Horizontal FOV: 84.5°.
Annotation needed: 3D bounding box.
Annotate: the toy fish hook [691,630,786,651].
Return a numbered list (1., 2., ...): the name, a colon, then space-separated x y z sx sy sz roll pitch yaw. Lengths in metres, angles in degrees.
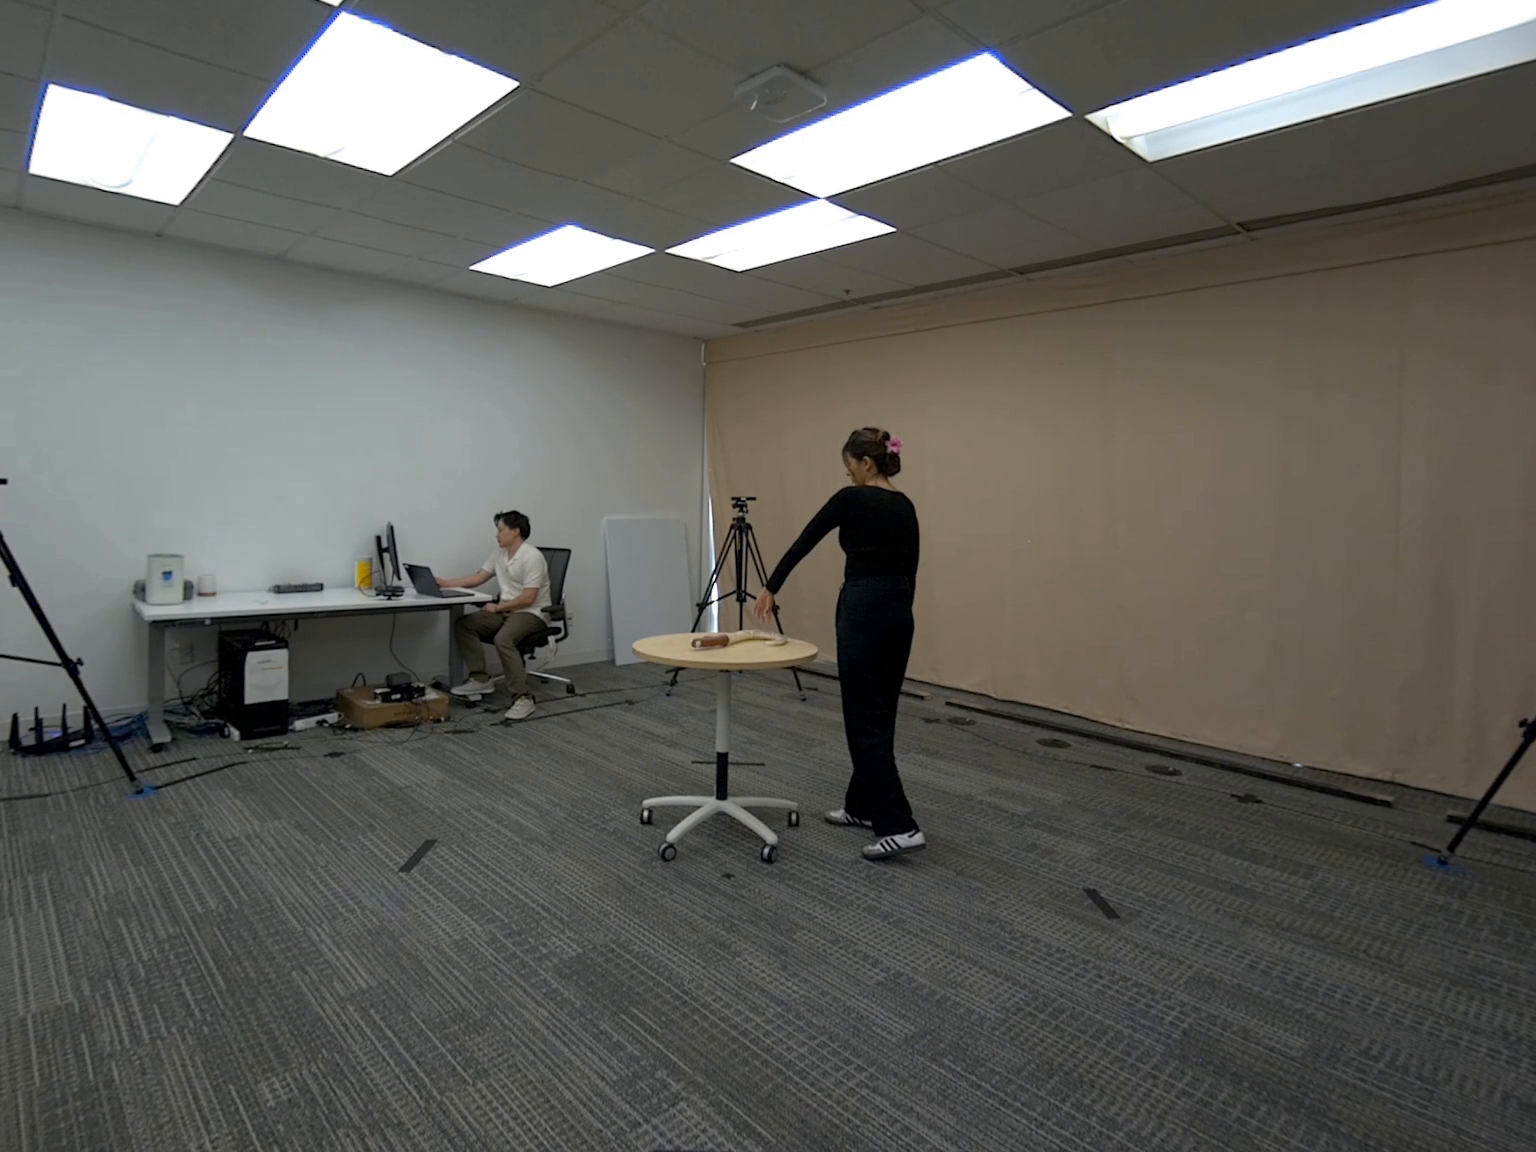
1. toy fish hook: -0.113 0.269 3.503 0.230 0.048 0.495 6 5 36
